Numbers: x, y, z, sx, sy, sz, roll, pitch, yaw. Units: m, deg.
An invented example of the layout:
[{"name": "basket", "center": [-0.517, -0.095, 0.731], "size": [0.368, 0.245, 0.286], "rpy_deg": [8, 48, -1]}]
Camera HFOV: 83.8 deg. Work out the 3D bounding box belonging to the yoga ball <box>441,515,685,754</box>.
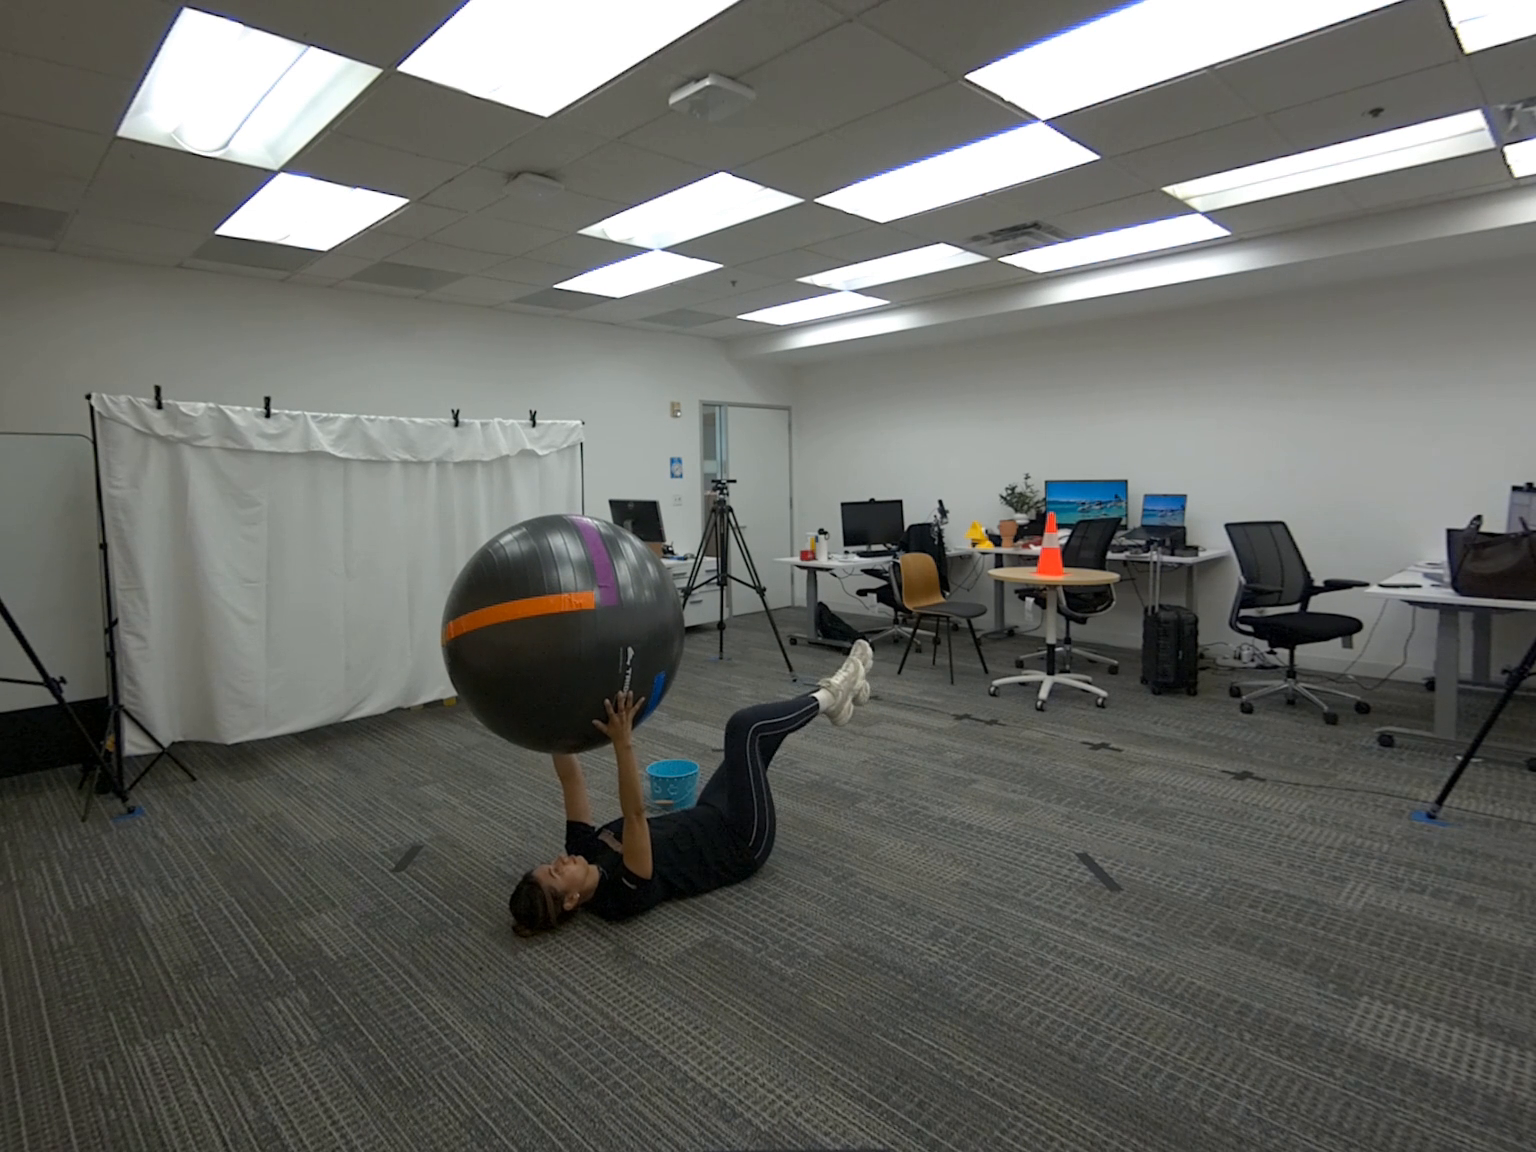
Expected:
[{"name": "yoga ball", "center": [-0.646, 0.182, 2.734], "size": [0.757, 0.757, 0.759], "rpy_deg": [0, 1, -2]}]
